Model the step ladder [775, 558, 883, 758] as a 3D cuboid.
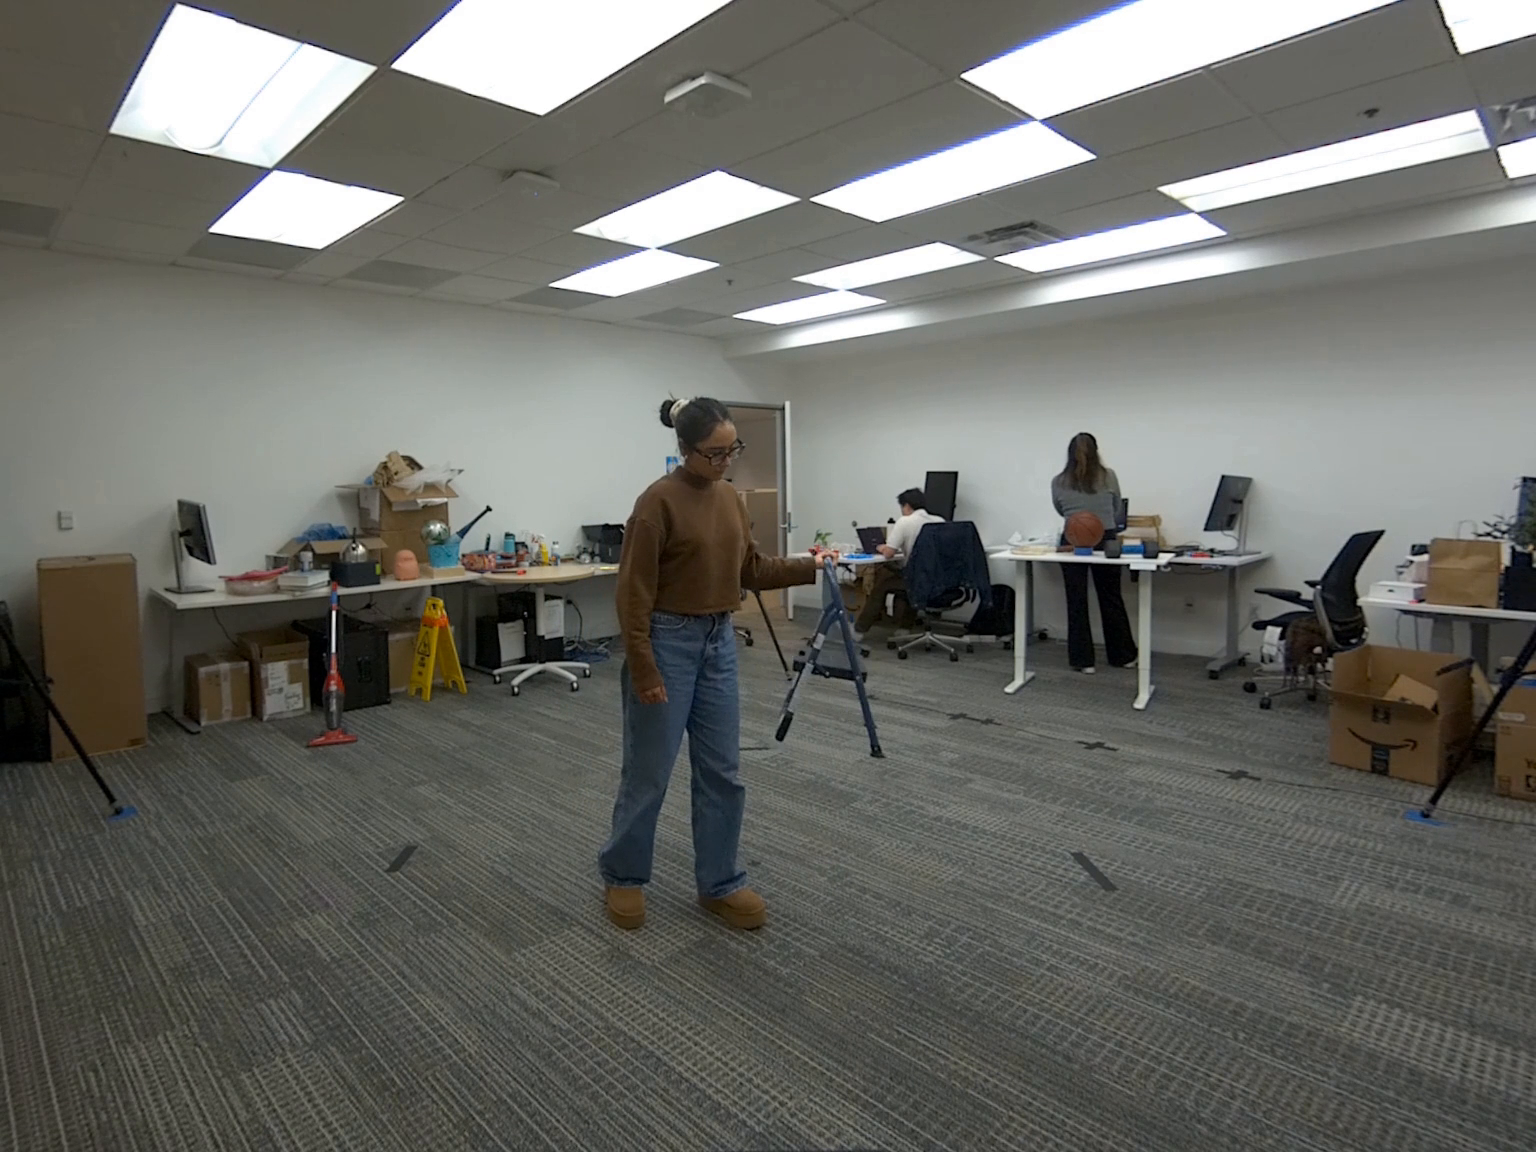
[{"bbox_3d":[0.238,0.243,2.923,0.352,0.605,0.428,7,2,5],"label":"step ladder"}]
